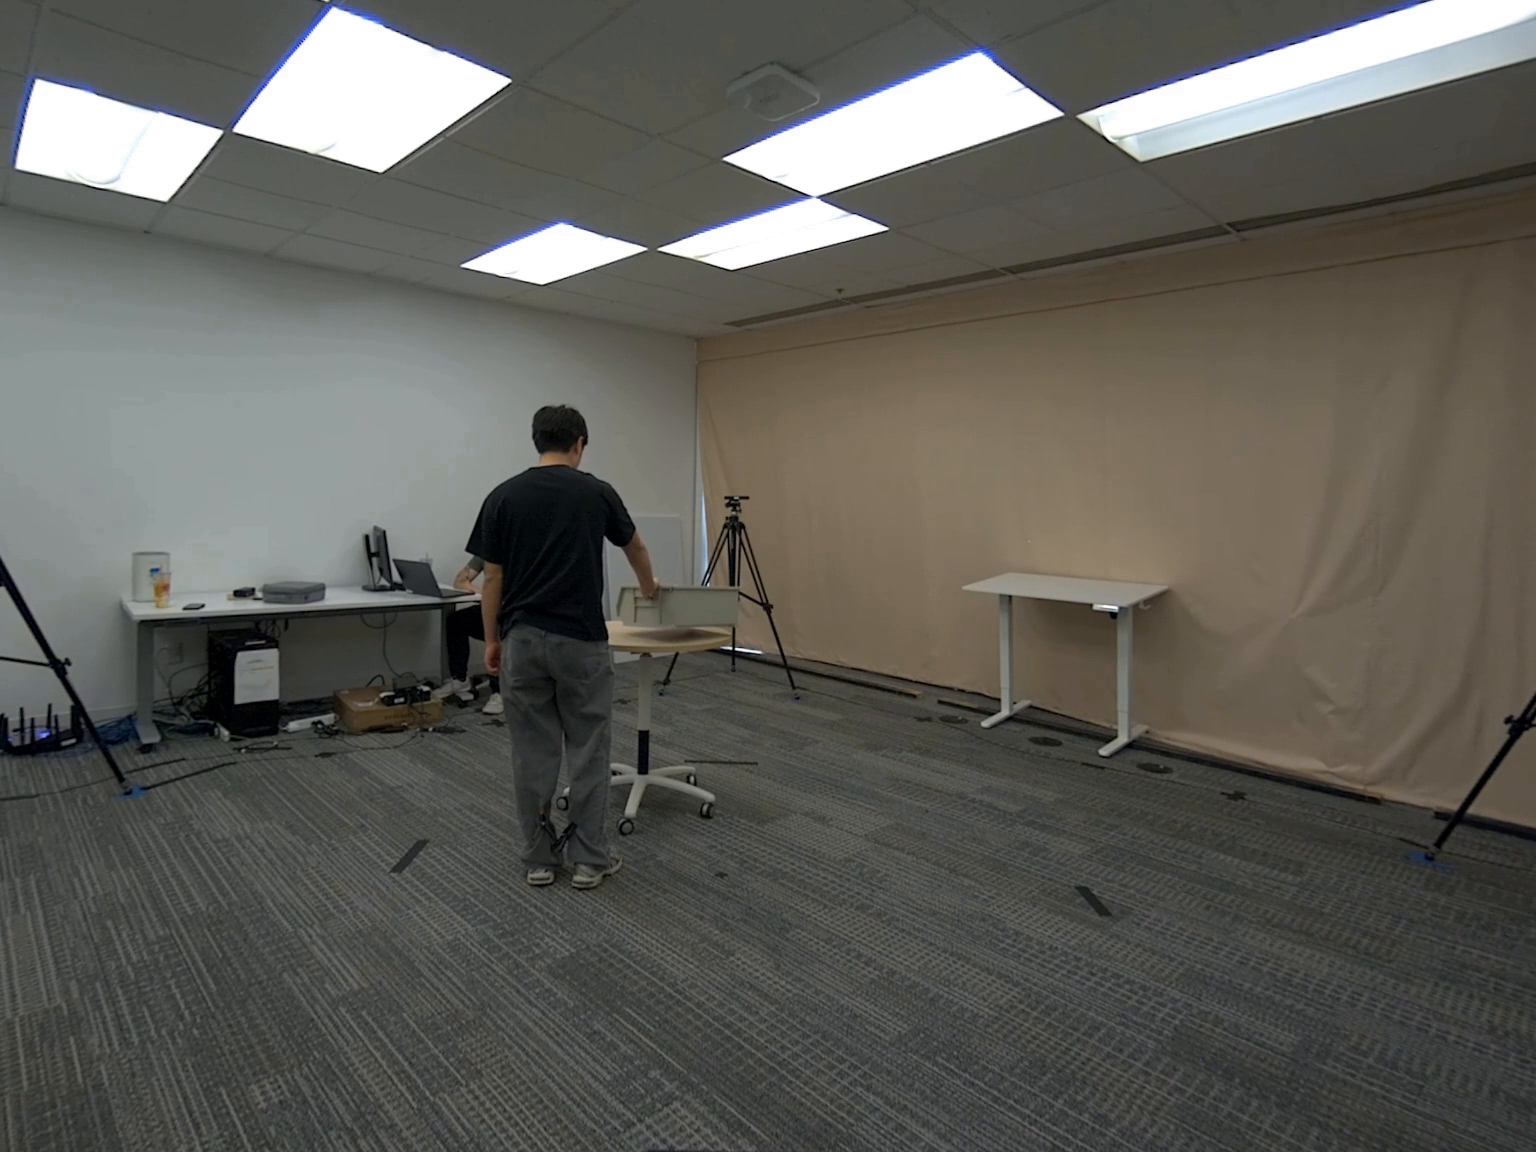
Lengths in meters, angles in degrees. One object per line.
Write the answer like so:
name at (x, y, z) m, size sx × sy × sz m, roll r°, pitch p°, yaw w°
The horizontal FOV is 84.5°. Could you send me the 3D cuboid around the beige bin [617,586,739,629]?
beige bin at (-0.400, 0.133, 3.711) m, size 0.386 × 0.189 × 0.412 m, roll 1°, pitch -1°, yaw 44°
